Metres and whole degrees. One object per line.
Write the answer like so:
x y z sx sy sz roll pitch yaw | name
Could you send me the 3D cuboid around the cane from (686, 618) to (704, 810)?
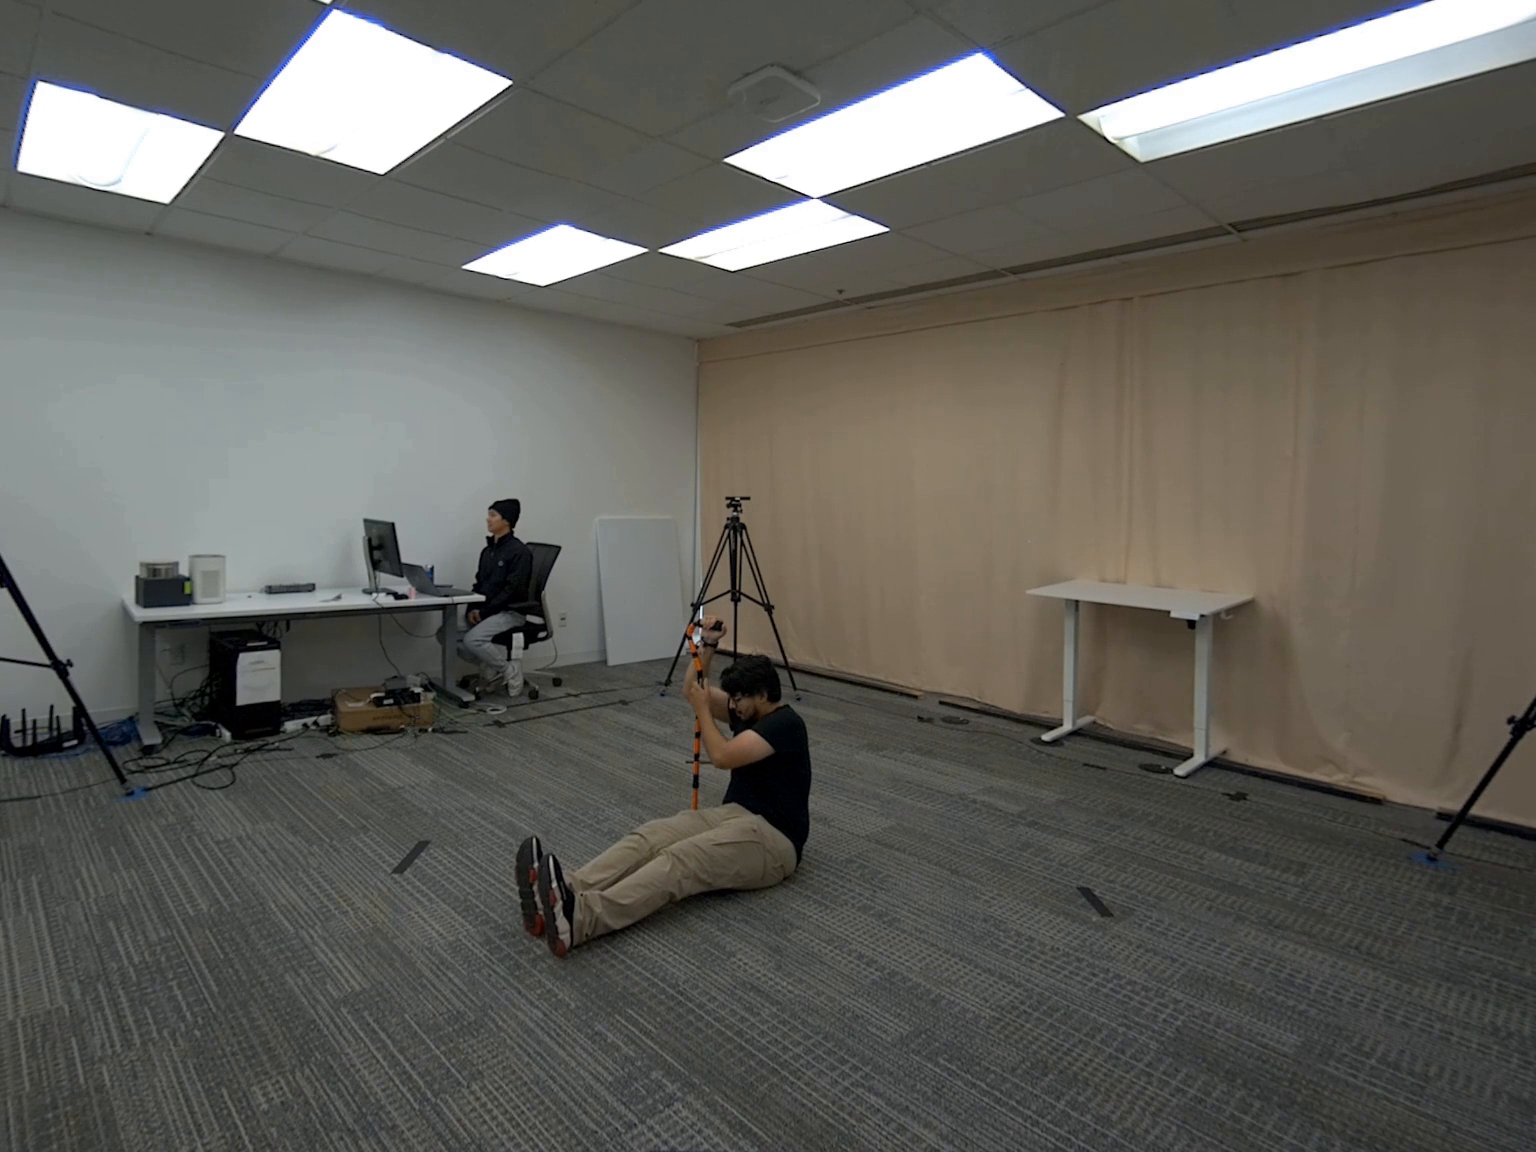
-0.279 0.627 3.368 0.211 0.906 0.148 3 2 34 | cane
